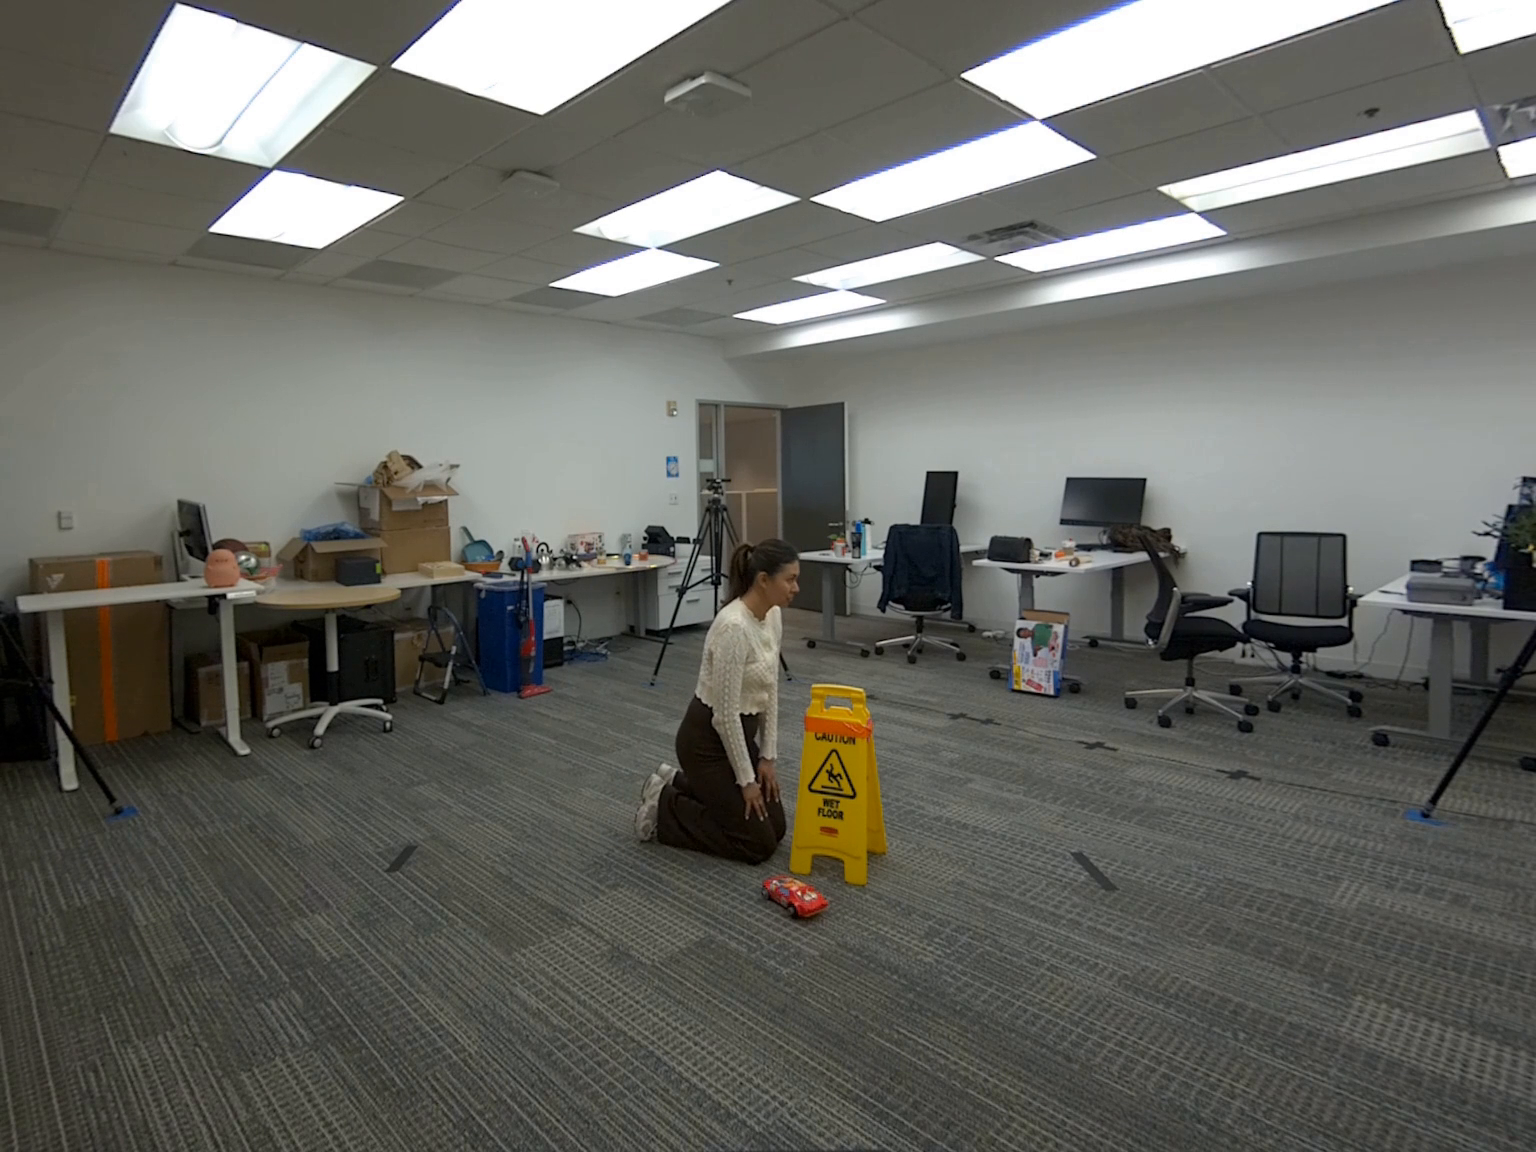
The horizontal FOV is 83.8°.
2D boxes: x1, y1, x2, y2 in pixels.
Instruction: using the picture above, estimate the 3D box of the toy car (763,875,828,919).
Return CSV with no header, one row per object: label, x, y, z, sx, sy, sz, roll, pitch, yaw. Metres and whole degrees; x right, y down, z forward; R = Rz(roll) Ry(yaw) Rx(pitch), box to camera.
toy car,0.089,1.051,2.778,0.127,0.083,0.260,-5,-3,-33
